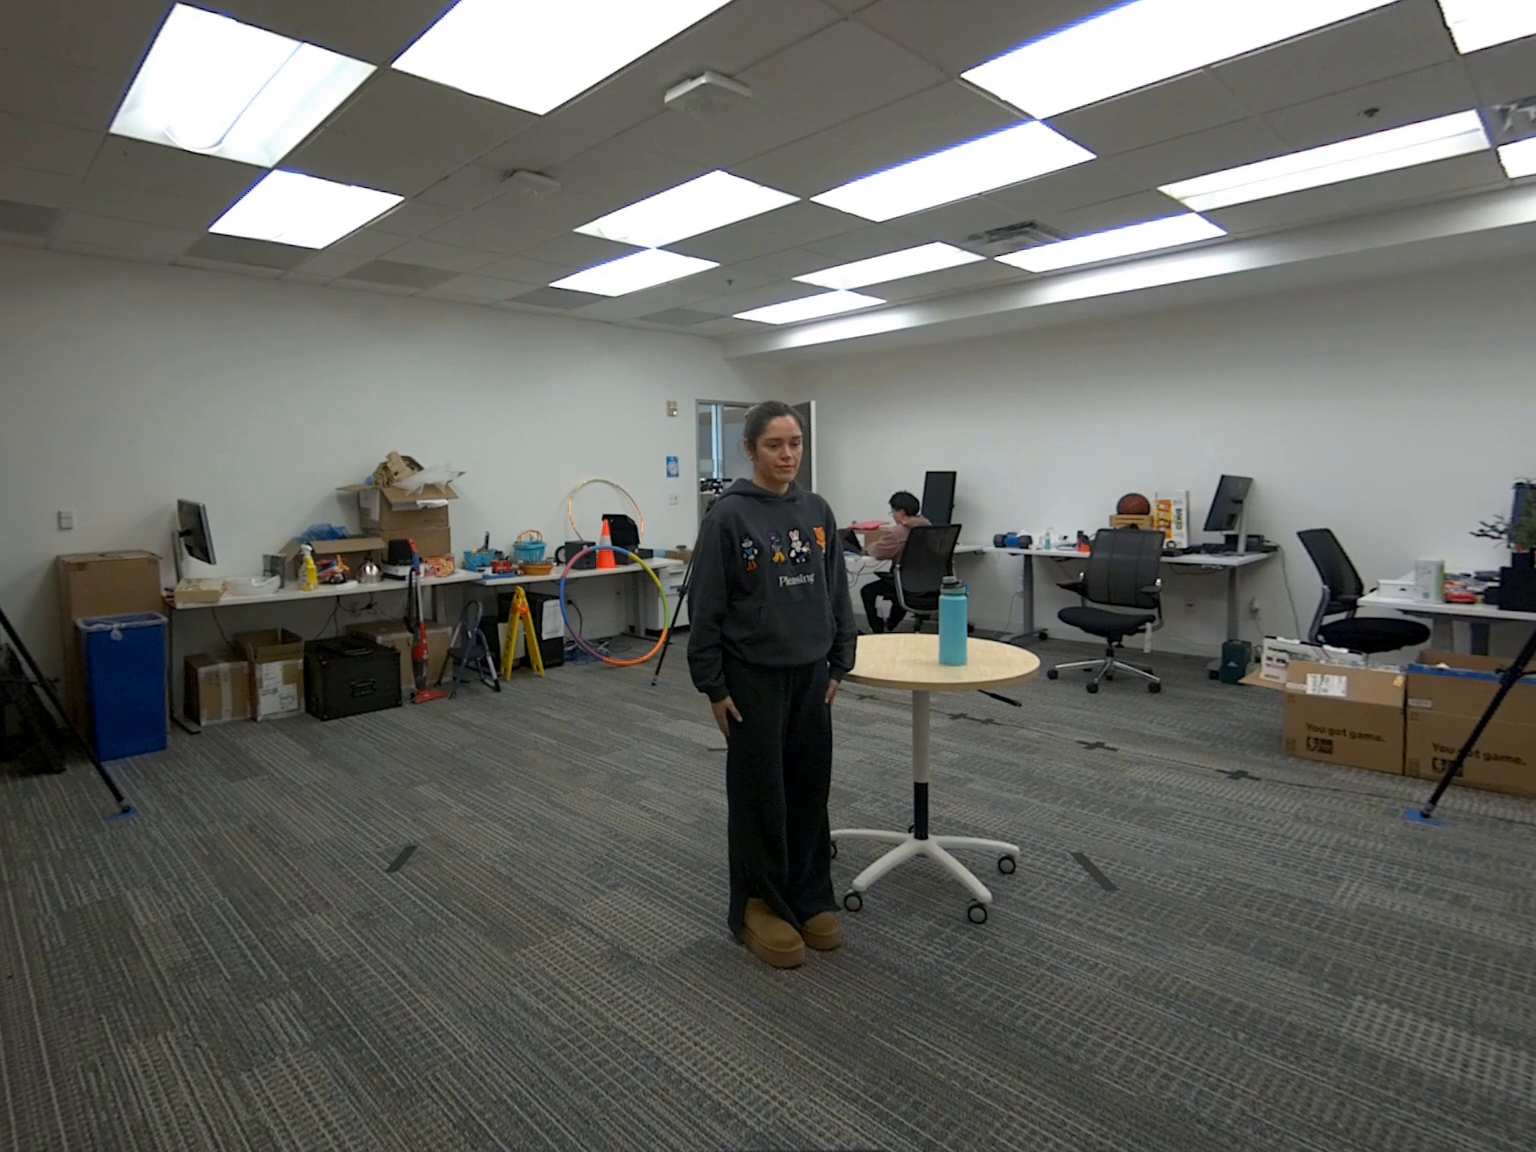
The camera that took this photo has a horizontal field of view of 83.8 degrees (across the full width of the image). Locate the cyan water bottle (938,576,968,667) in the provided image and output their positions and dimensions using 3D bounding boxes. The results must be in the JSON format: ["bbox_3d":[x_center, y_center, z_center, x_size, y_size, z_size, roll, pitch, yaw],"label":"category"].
[{"bbox_3d":[0.610,0.146,2.786,0.092,0.282,0.093,-1,4,-2],"label":"cyan water bottle"}]
